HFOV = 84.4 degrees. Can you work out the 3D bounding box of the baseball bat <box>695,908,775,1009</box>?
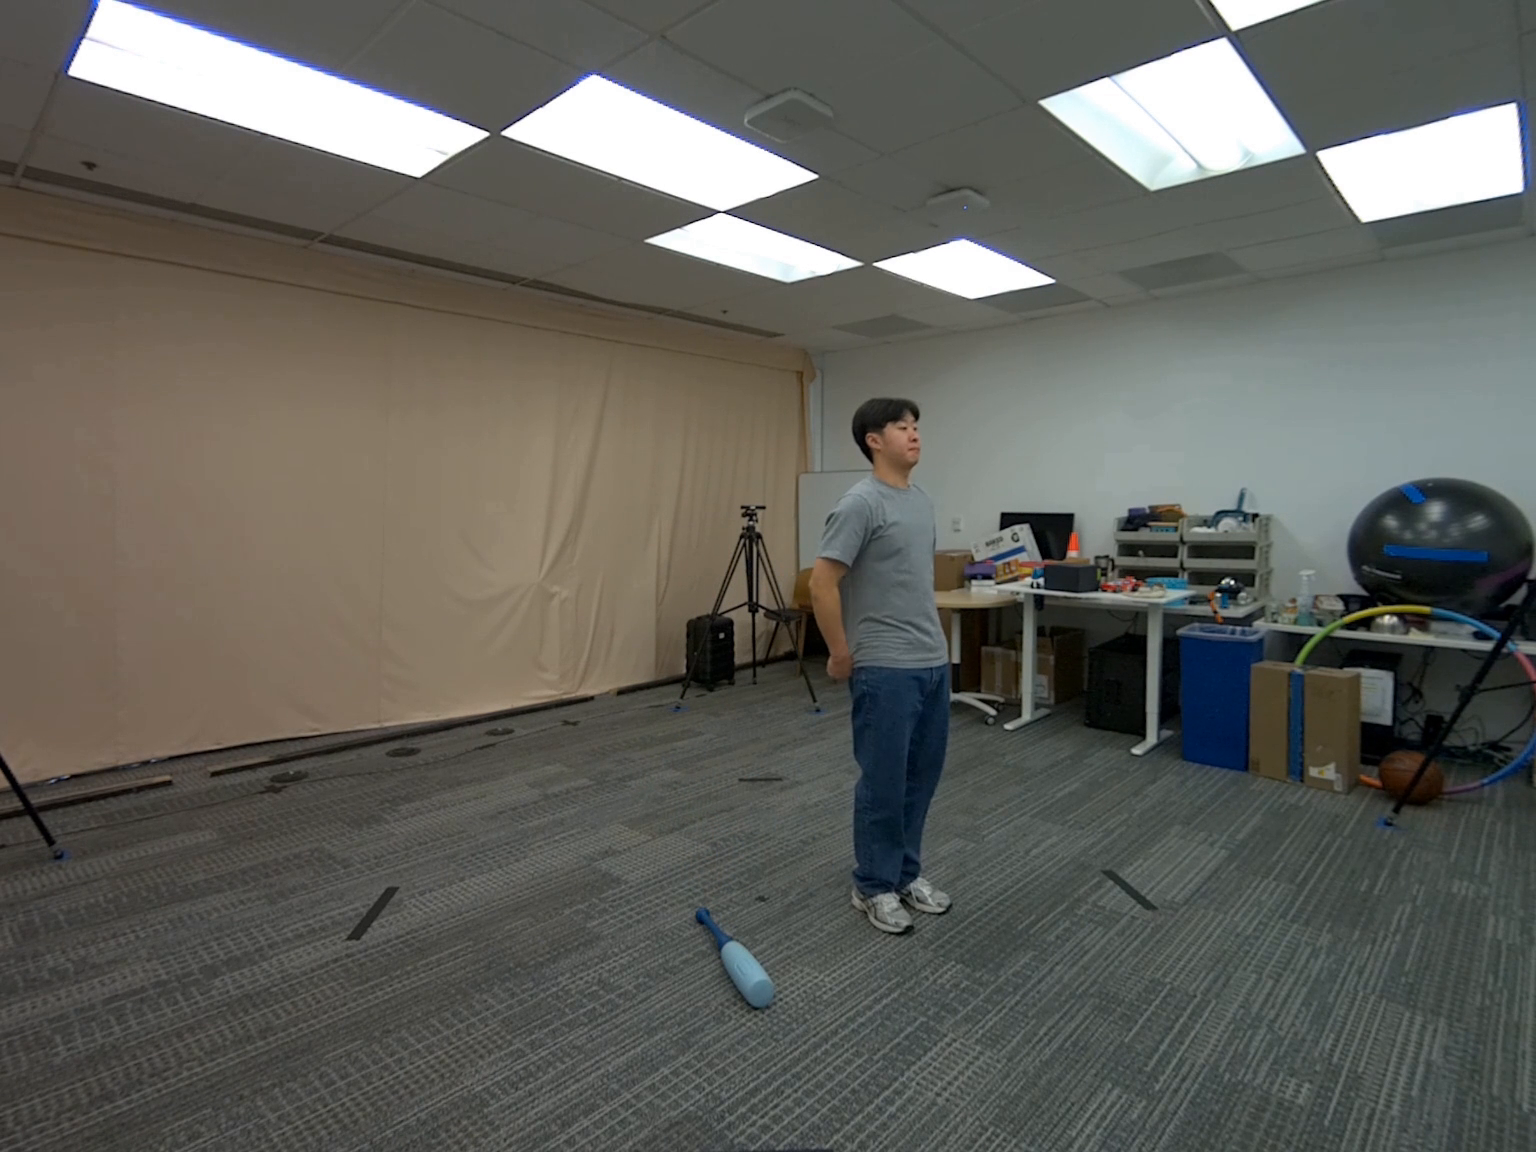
[{"bbox_3d":[-0.116,1.144,2.562,0.087,0.089,0.554,-1,2,-21],"label":"baseball bat"}]
